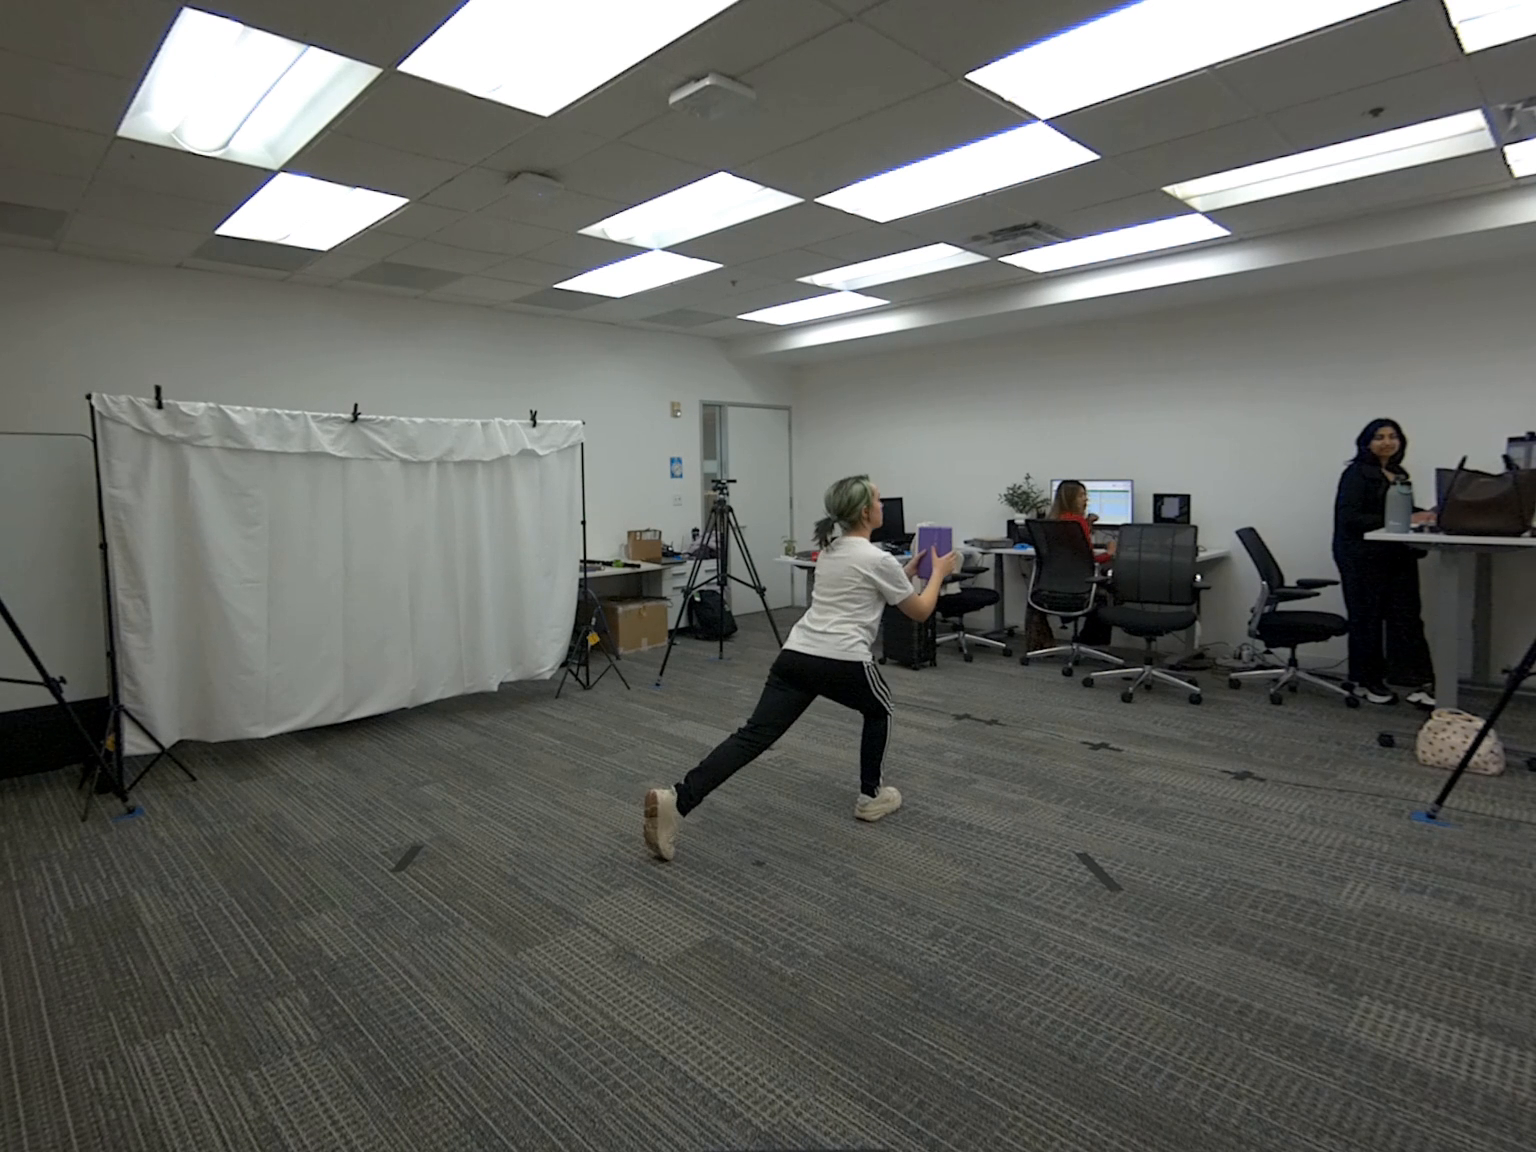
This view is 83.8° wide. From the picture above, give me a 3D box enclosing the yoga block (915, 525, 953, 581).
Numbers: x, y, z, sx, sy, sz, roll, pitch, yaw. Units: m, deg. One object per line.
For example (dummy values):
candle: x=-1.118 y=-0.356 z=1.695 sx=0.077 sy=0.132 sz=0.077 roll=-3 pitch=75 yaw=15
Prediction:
yoga block: x=0.719 y=-0.101 z=3.698 sx=0.074 sy=0.229 sz=0.153 roll=1 pitch=1 yaw=-29
